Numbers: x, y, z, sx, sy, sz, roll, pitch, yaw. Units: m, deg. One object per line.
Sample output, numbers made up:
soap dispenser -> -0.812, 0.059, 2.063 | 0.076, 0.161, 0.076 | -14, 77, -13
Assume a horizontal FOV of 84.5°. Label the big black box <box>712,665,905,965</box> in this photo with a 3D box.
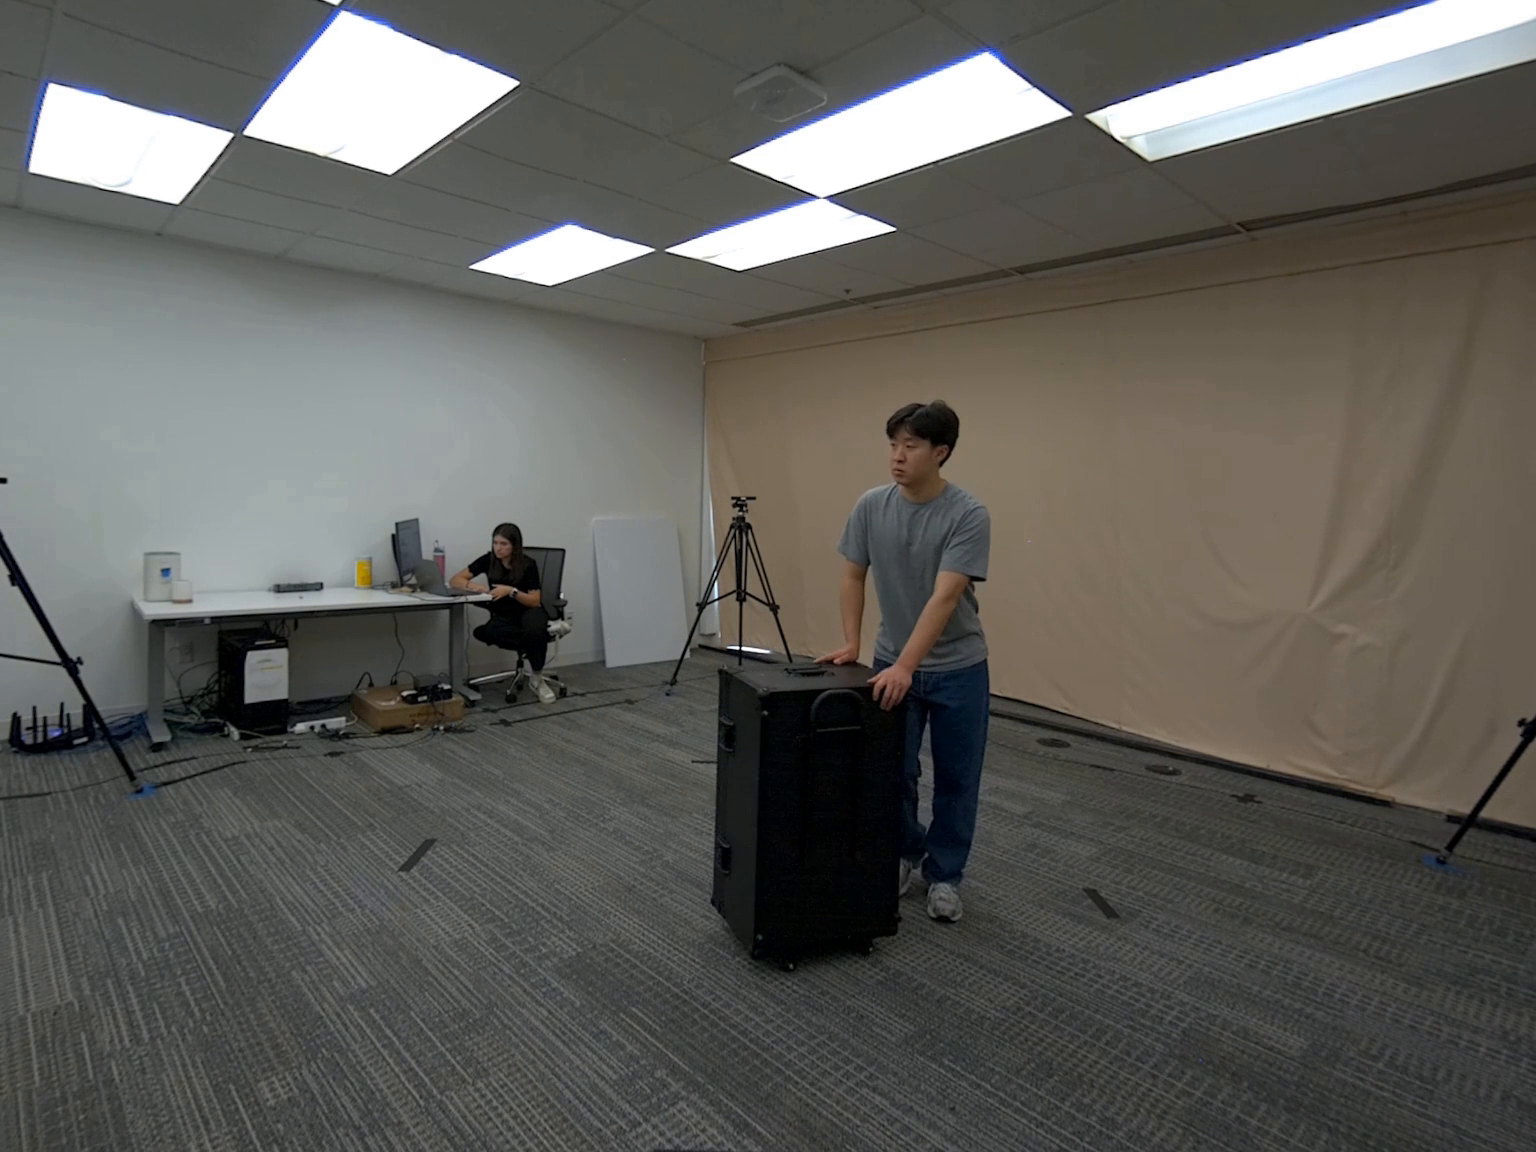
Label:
big black box -> 0.126, 0.734, 2.622 | 0.513, 0.858, 0.404 | 0, 6, -22
